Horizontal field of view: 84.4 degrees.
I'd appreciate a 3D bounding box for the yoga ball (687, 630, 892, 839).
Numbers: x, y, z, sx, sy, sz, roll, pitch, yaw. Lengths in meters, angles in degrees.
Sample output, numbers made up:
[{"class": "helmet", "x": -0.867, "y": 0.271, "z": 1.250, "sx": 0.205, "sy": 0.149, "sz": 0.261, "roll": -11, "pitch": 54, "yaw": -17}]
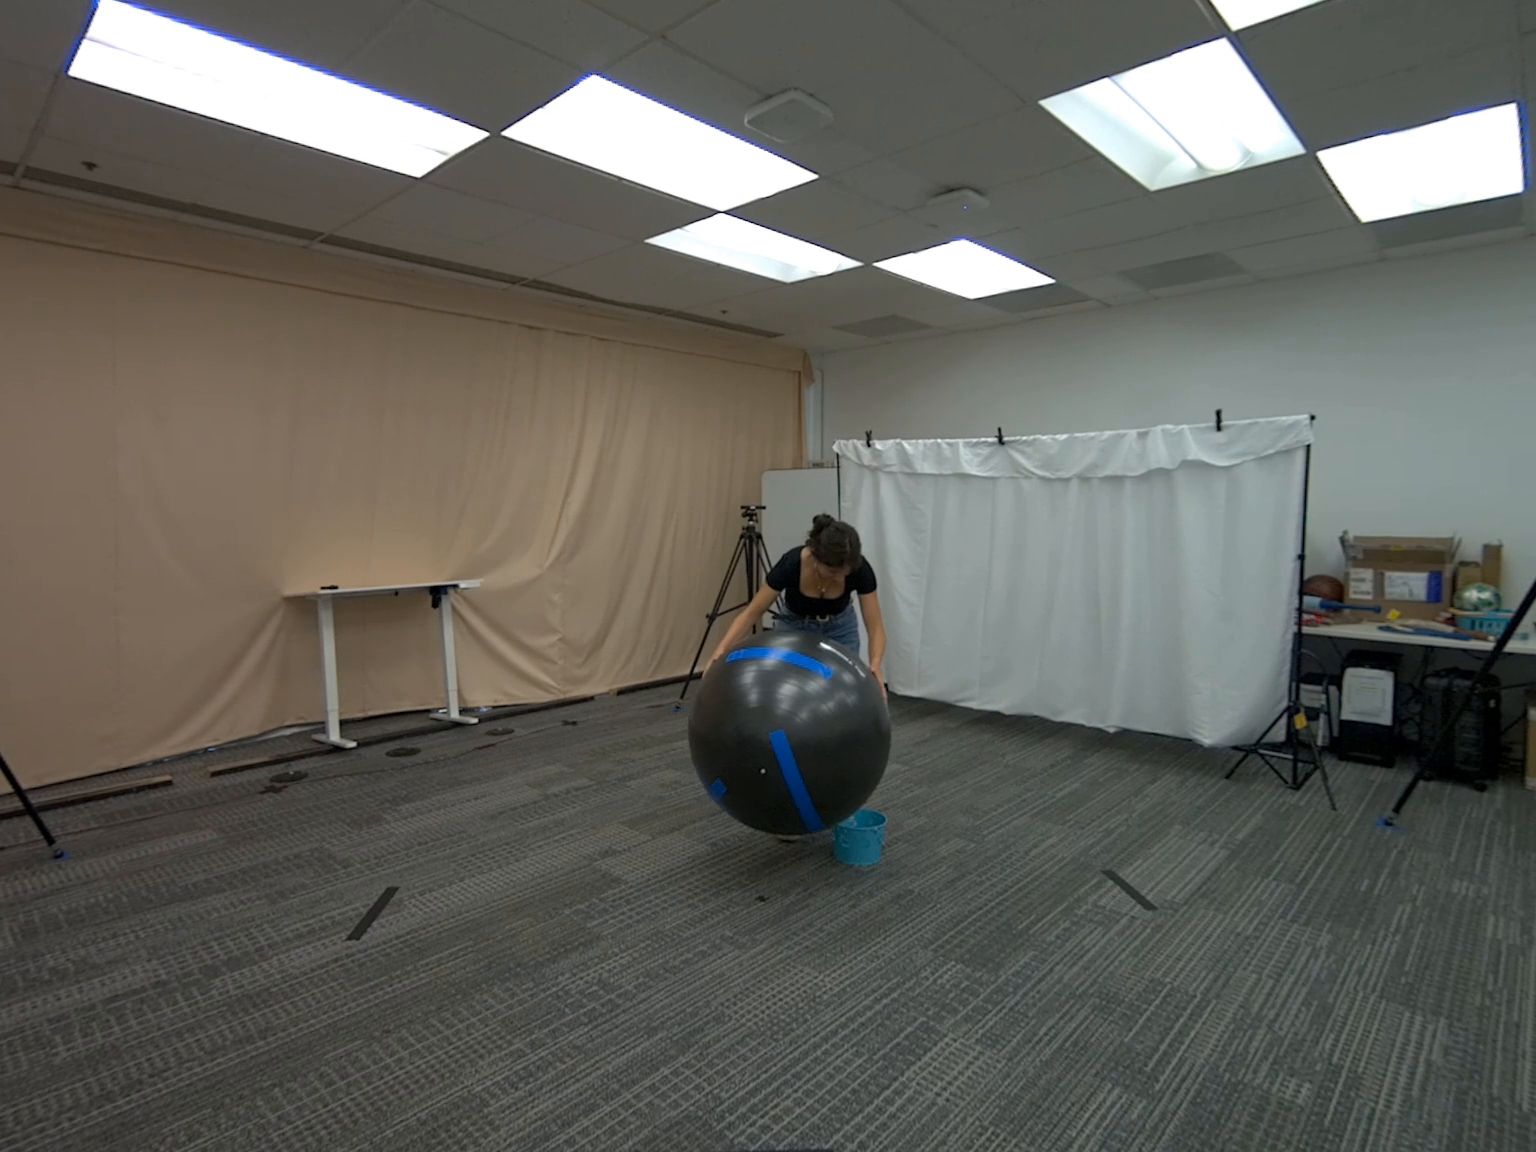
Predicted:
[{"class": "yoga ball", "x": 0.091, "y": 0.591, "z": 3.174, "sx": 0.757, "sy": 0.756, "sz": 0.760, "roll": 0, "pitch": 4, "yaw": -2}]
